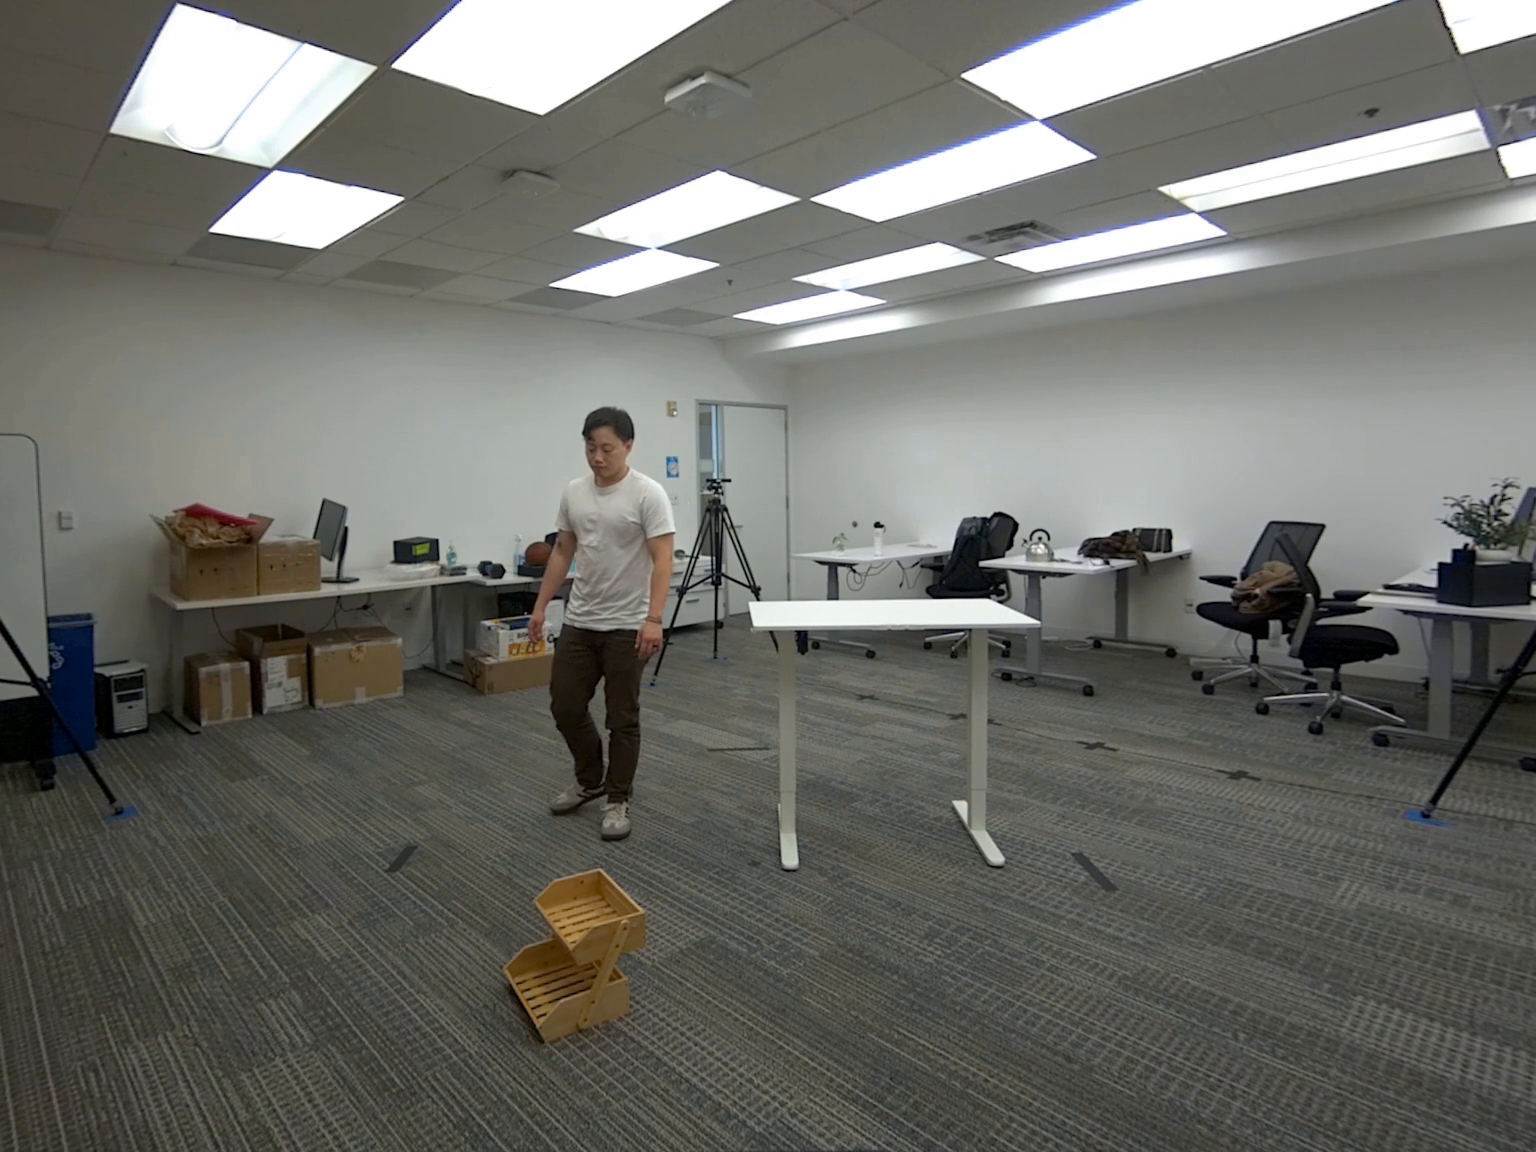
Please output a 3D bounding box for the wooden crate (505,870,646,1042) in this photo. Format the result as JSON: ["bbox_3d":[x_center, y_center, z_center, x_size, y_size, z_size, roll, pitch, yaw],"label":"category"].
[{"bbox_3d":[-0.531,1.018,2.319,0.295,0.272,0.334,-3,6,-32],"label":"wooden crate"}]
